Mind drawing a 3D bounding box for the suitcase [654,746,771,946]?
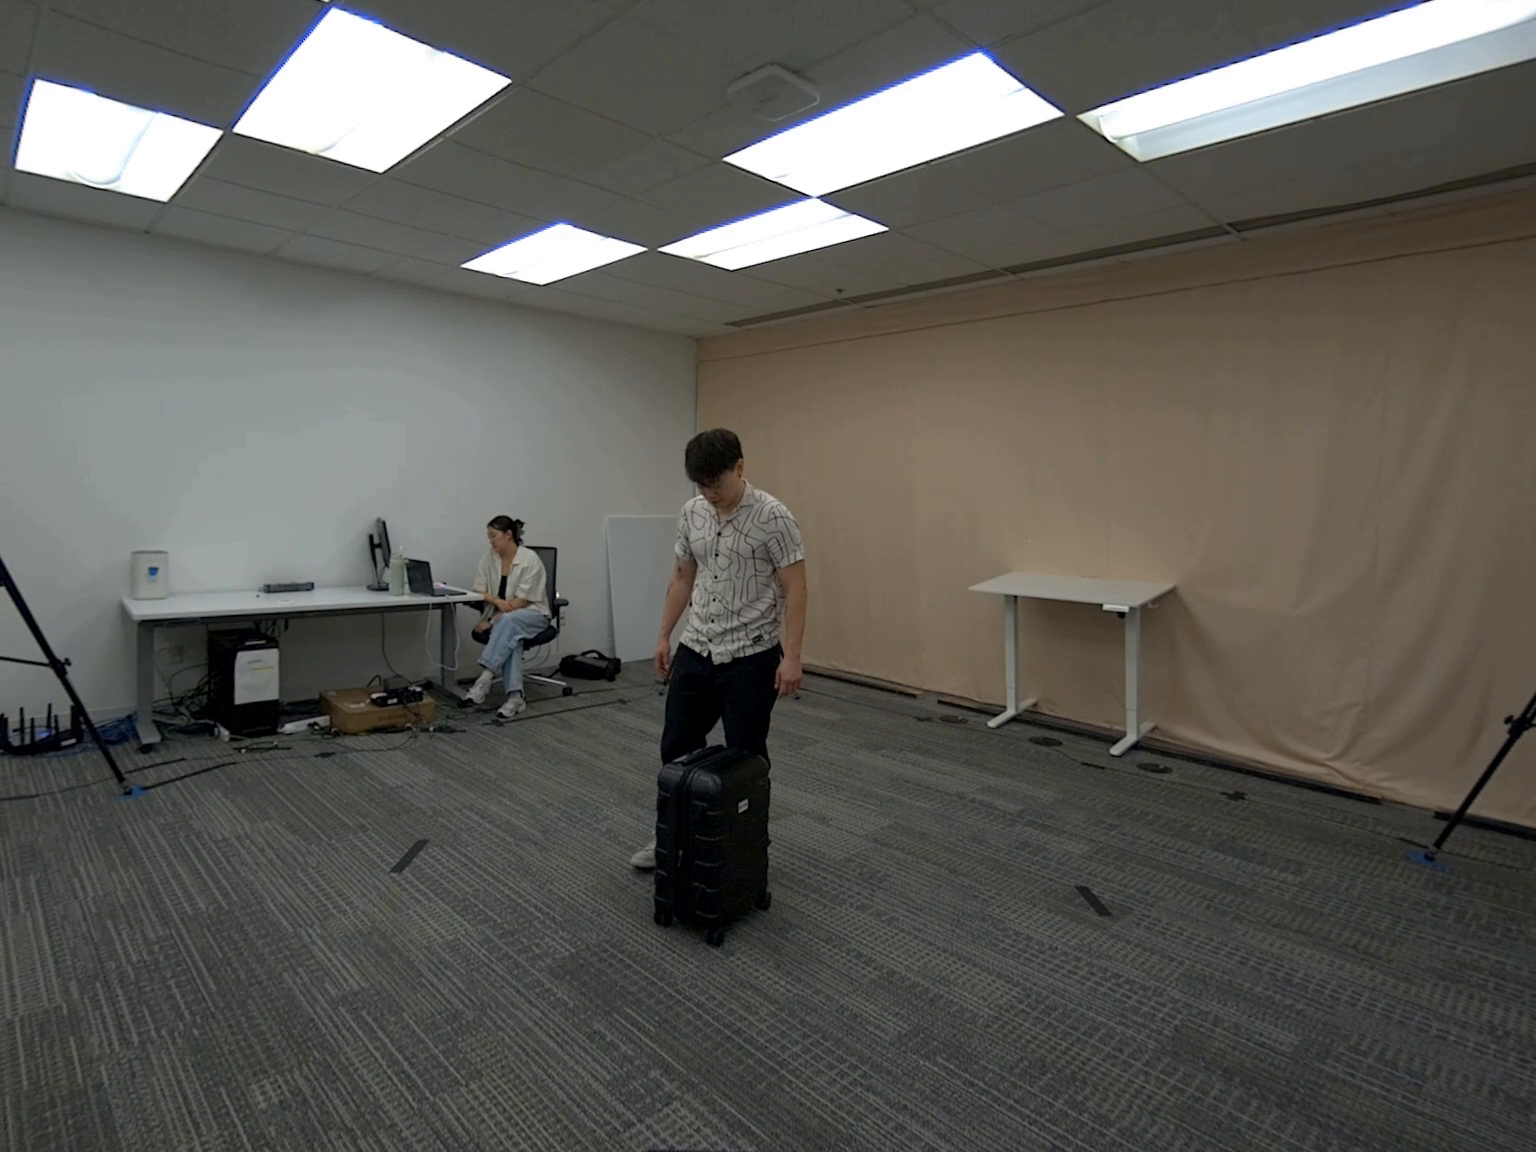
[{"bbox_3d":[-0.185,0.856,2.769,0.254,0.548,0.368,4,4,33],"label":"suitcase"}]
